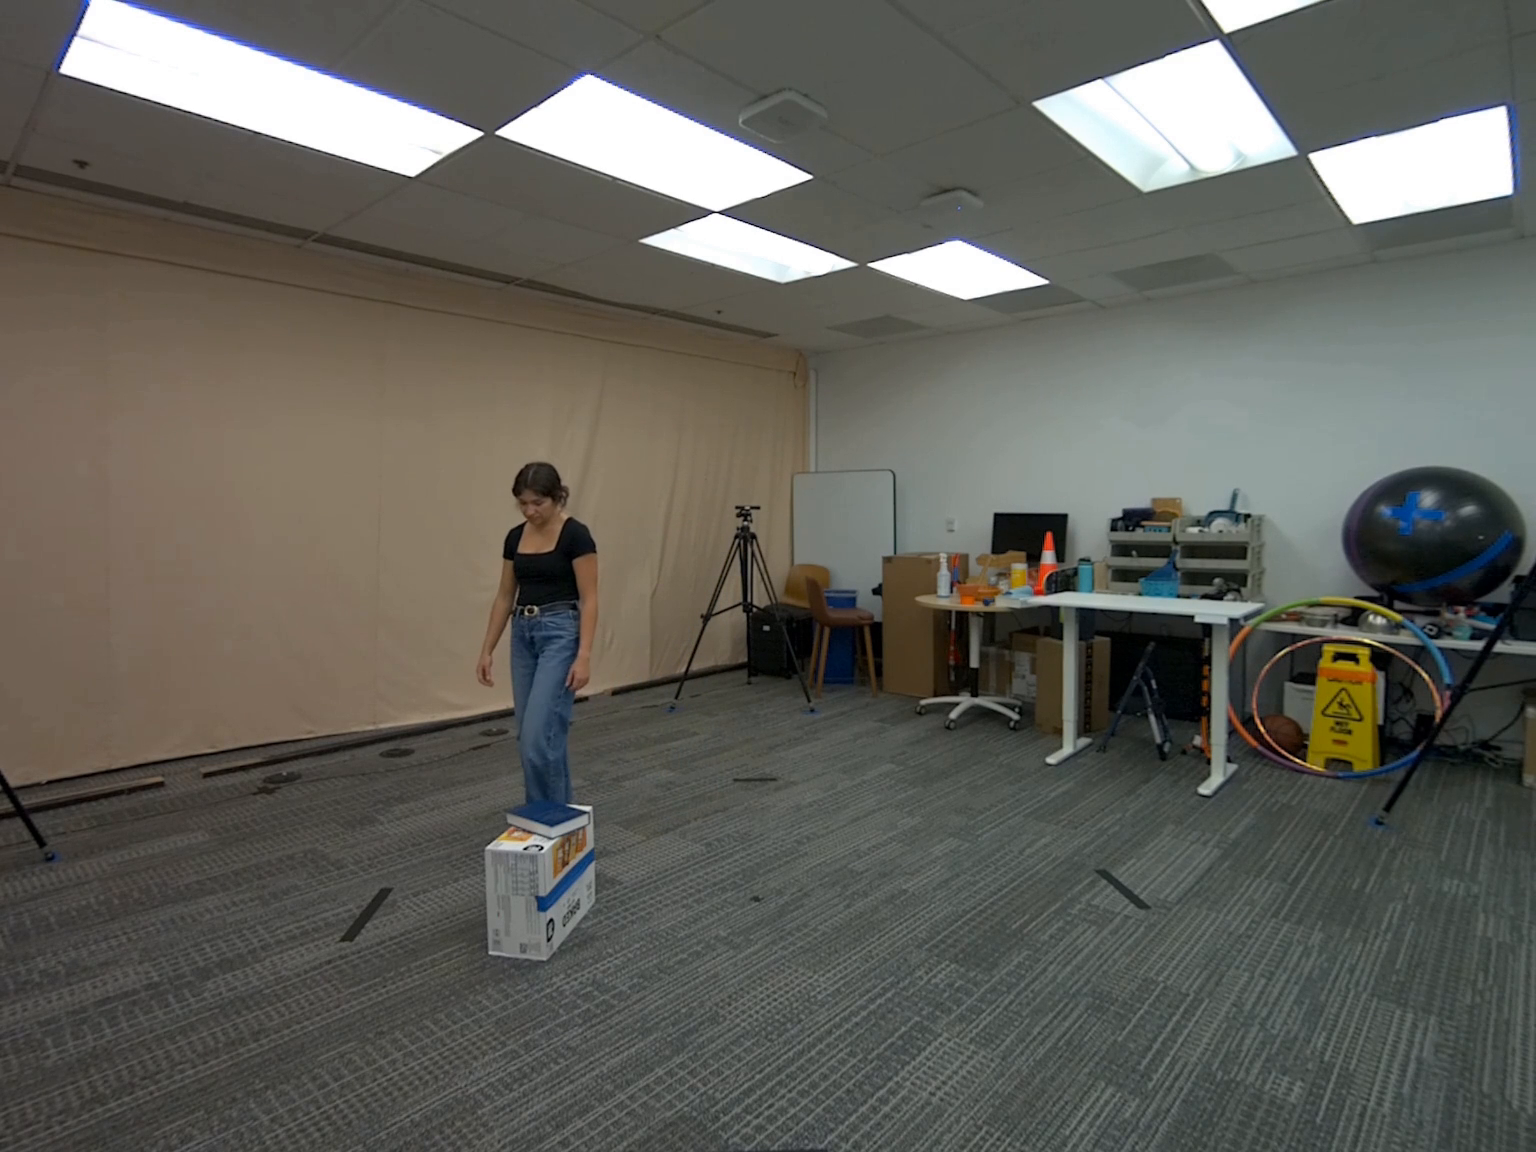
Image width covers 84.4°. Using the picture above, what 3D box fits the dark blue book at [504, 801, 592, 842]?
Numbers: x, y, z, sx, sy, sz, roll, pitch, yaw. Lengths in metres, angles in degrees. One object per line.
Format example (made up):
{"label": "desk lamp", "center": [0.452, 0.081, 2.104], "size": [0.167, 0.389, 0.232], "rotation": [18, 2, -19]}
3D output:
{"label": "dark blue book", "center": [-0.731, 0.801, 2.804], "size": [0.253, 0.045, 0.159], "rotation": [1, 5, 37]}
